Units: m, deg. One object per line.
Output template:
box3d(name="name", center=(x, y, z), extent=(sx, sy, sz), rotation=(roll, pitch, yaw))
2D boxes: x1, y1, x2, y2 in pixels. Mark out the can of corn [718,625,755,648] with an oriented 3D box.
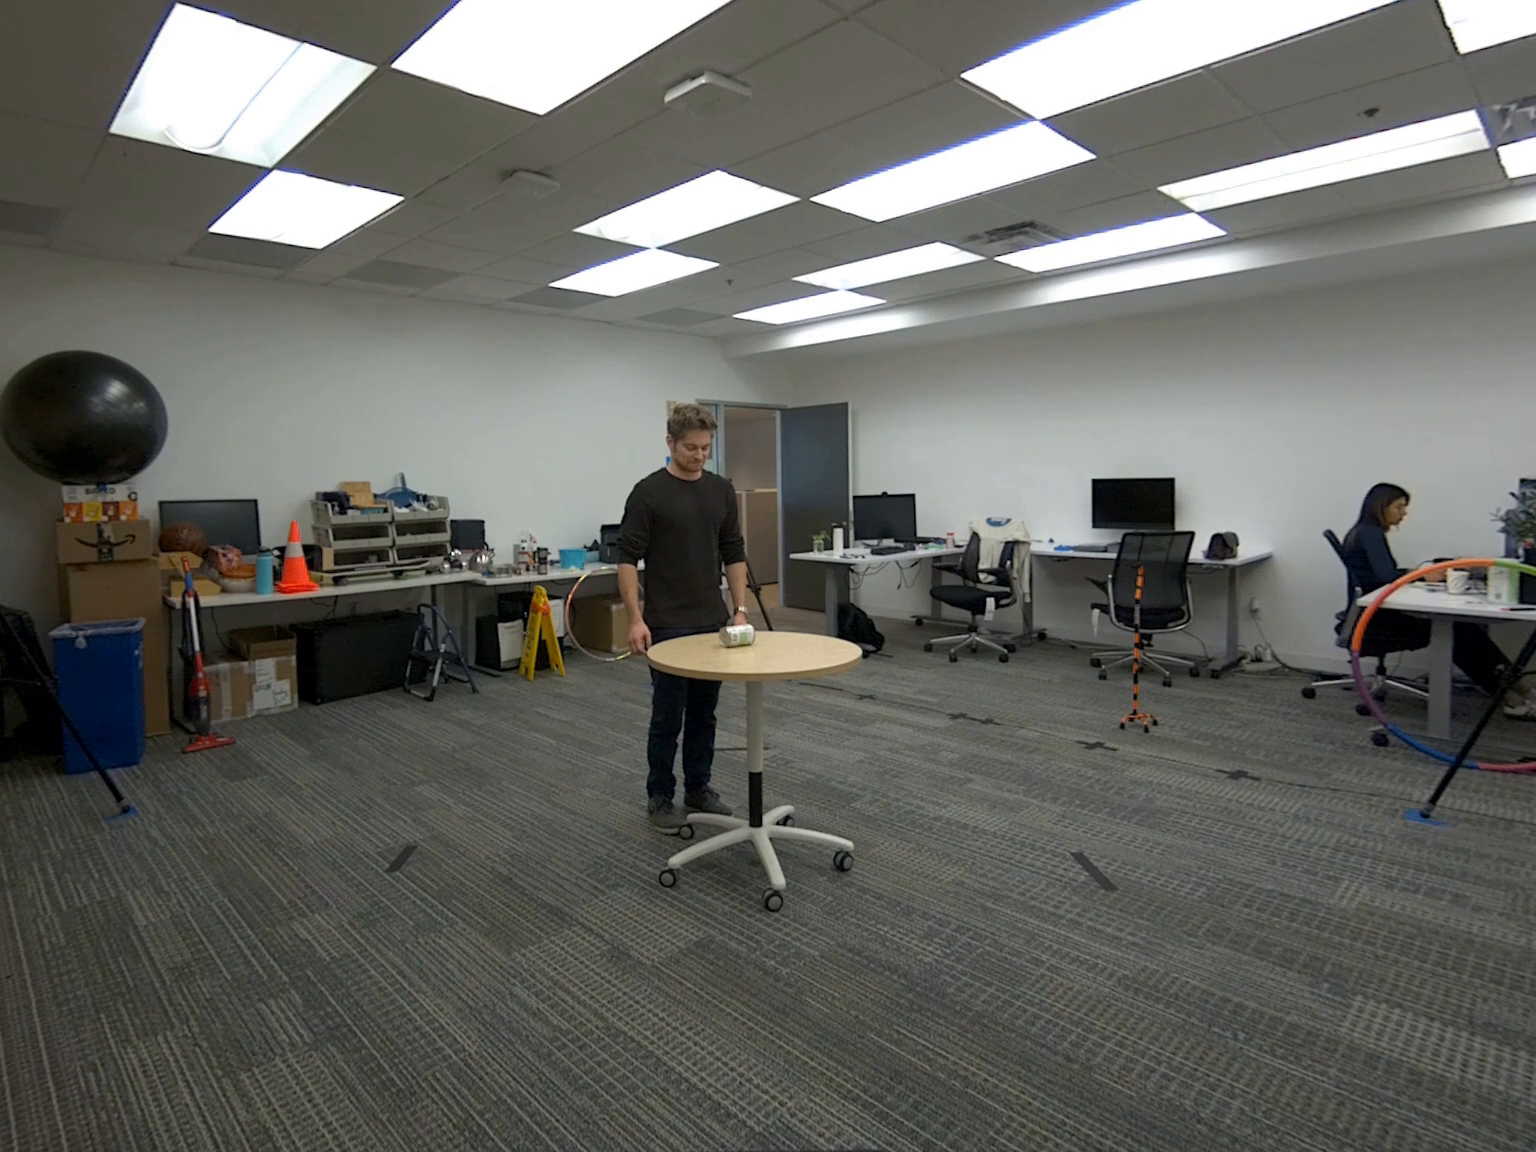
box3d(name="can of corn", center=(-0.111, 0.220, 3.135), extent=(0.108, 0.074, 0.076), rotation=(-5, 6, -34))
